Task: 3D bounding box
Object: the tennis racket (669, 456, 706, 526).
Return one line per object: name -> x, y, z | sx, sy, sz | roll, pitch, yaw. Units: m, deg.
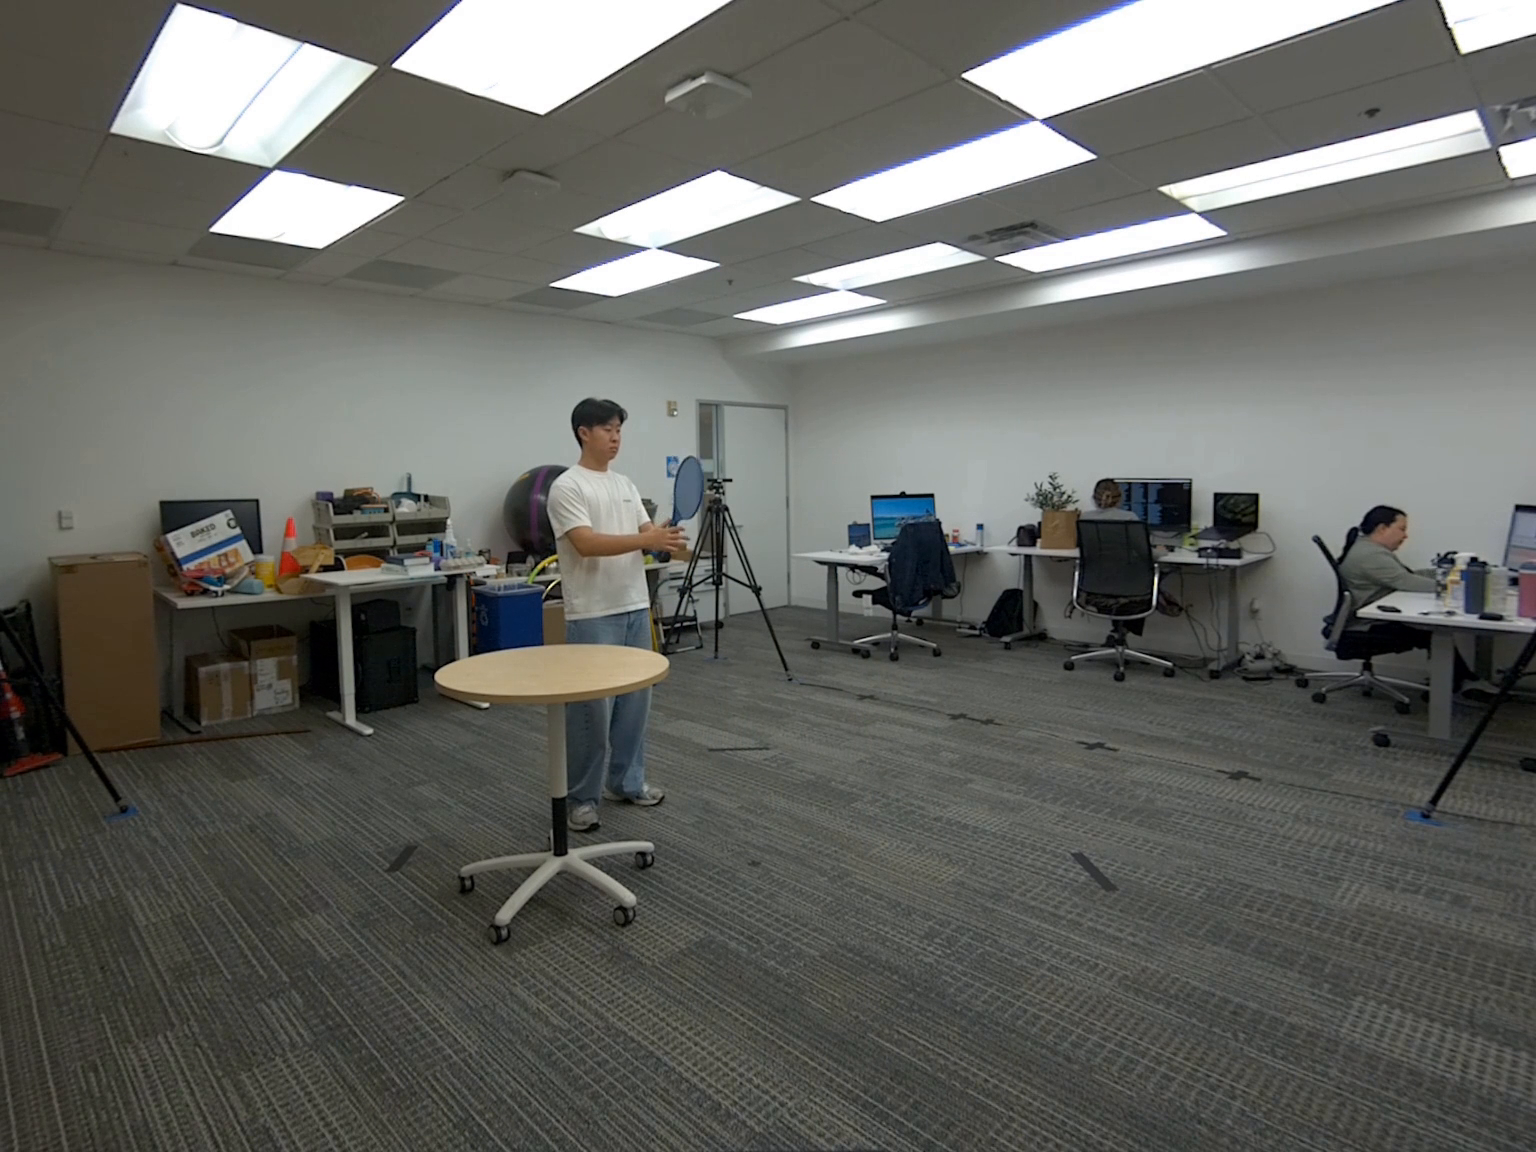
tennis racket -> -0.321, -0.287, 3.328 | 0.031, 0.428, 0.222 | -3, 46, -34
